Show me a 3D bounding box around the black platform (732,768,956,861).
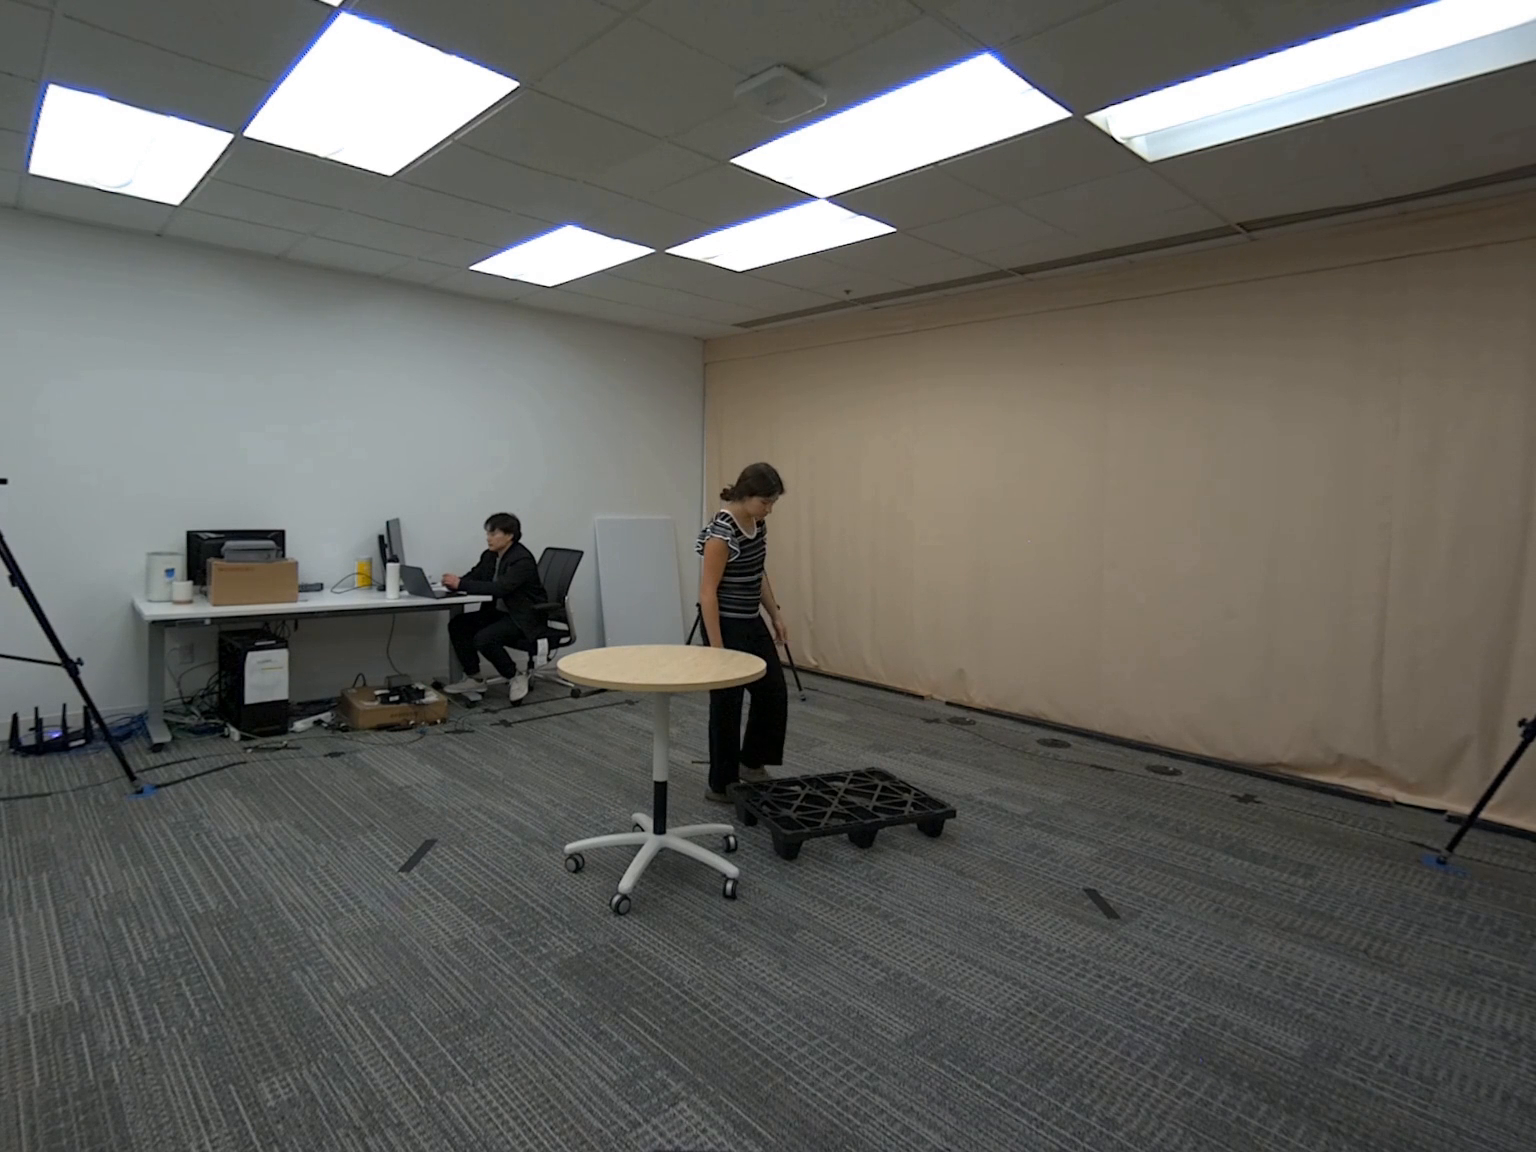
[{"bbox_3d":[0.289,1.010,3.595,0.792,0.143,0.617,-1,6,-24],"label":"black platform"}]
